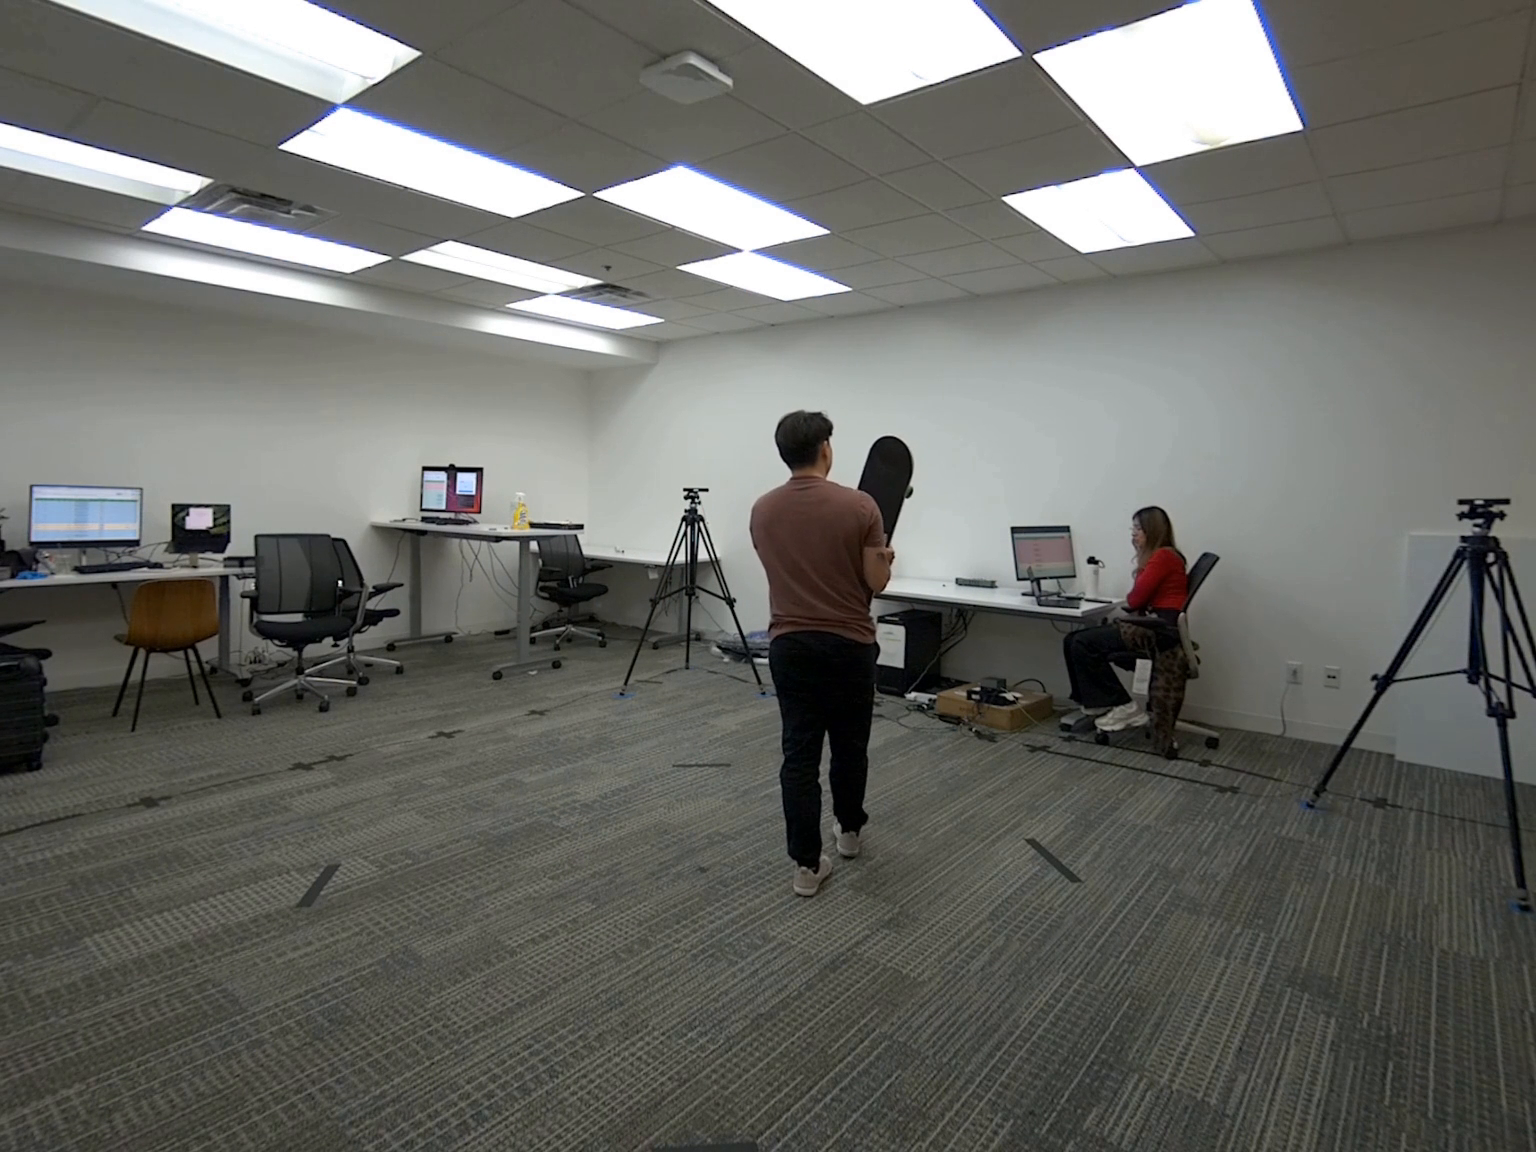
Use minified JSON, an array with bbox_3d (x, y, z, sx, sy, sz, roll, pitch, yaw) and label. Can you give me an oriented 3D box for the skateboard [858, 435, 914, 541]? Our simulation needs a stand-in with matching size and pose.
[{"bbox_3d":[0.391,-0.160,3.273,0.200,0.776,0.108,25,21,29],"label":"skateboard"}]
